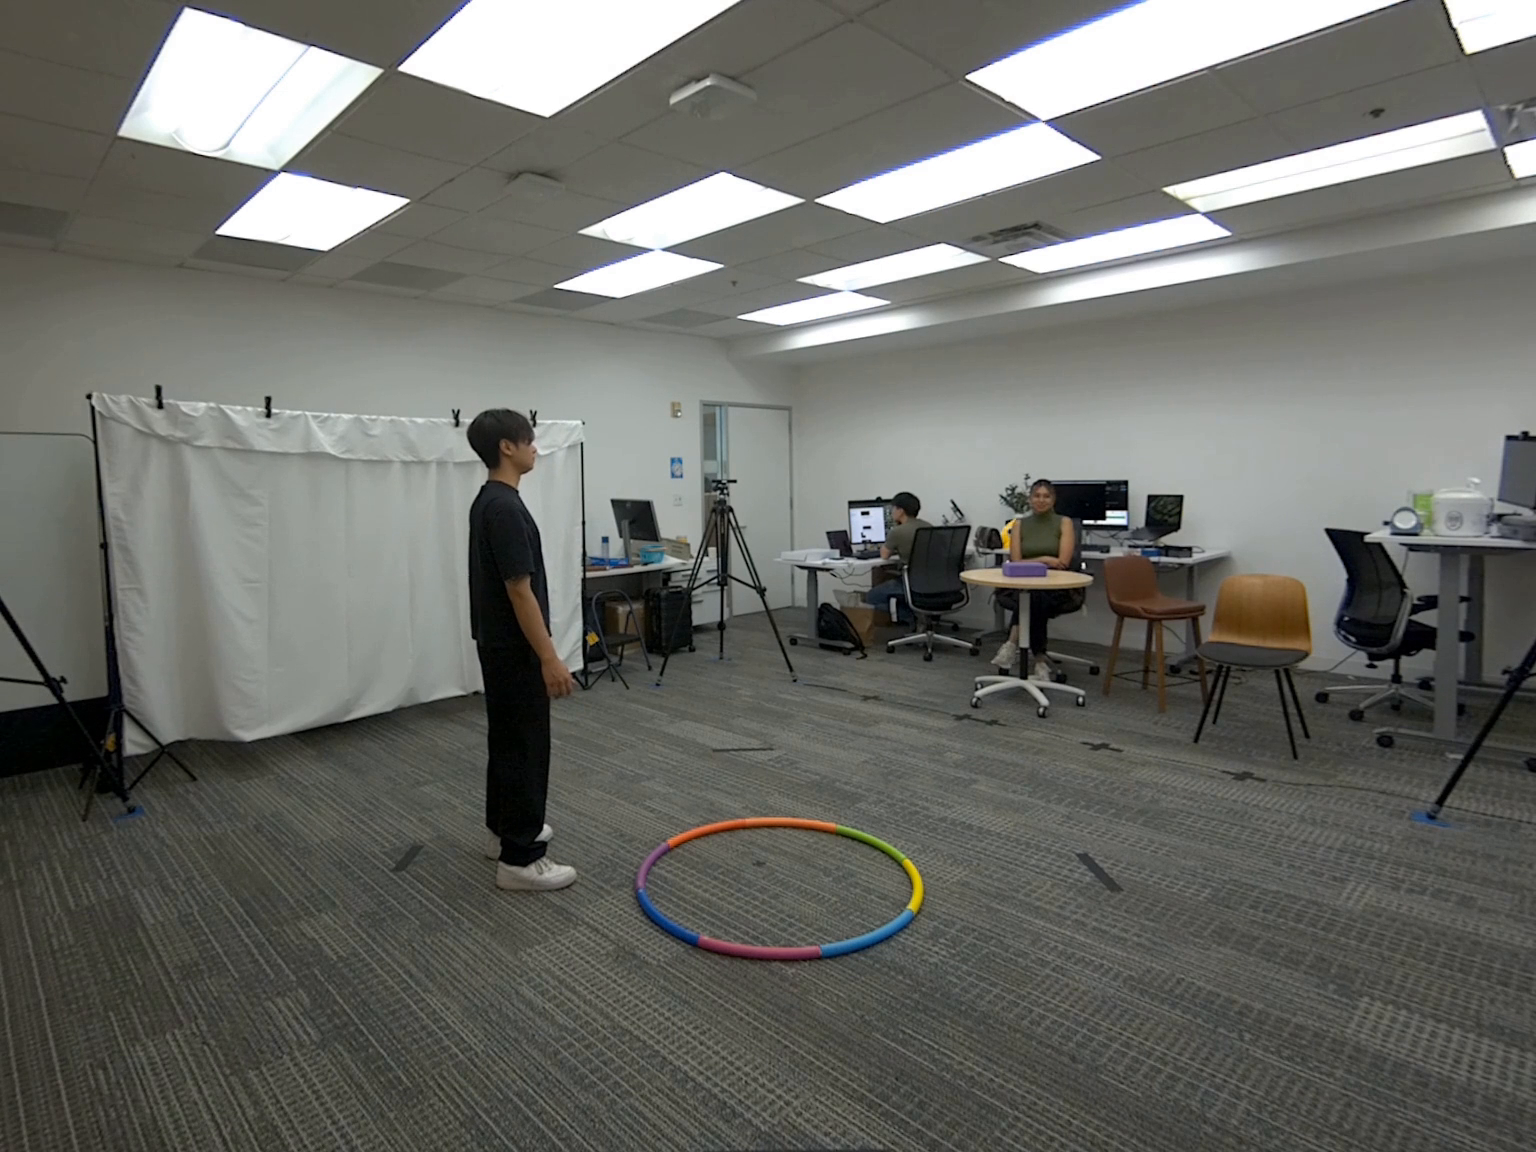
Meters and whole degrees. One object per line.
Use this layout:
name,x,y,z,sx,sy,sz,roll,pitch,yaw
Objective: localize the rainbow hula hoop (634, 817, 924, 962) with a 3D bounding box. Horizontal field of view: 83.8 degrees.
rainbow hula hoop,0.031,1.031,2.968,0.978,0.035,0.984,-1,7,-2
